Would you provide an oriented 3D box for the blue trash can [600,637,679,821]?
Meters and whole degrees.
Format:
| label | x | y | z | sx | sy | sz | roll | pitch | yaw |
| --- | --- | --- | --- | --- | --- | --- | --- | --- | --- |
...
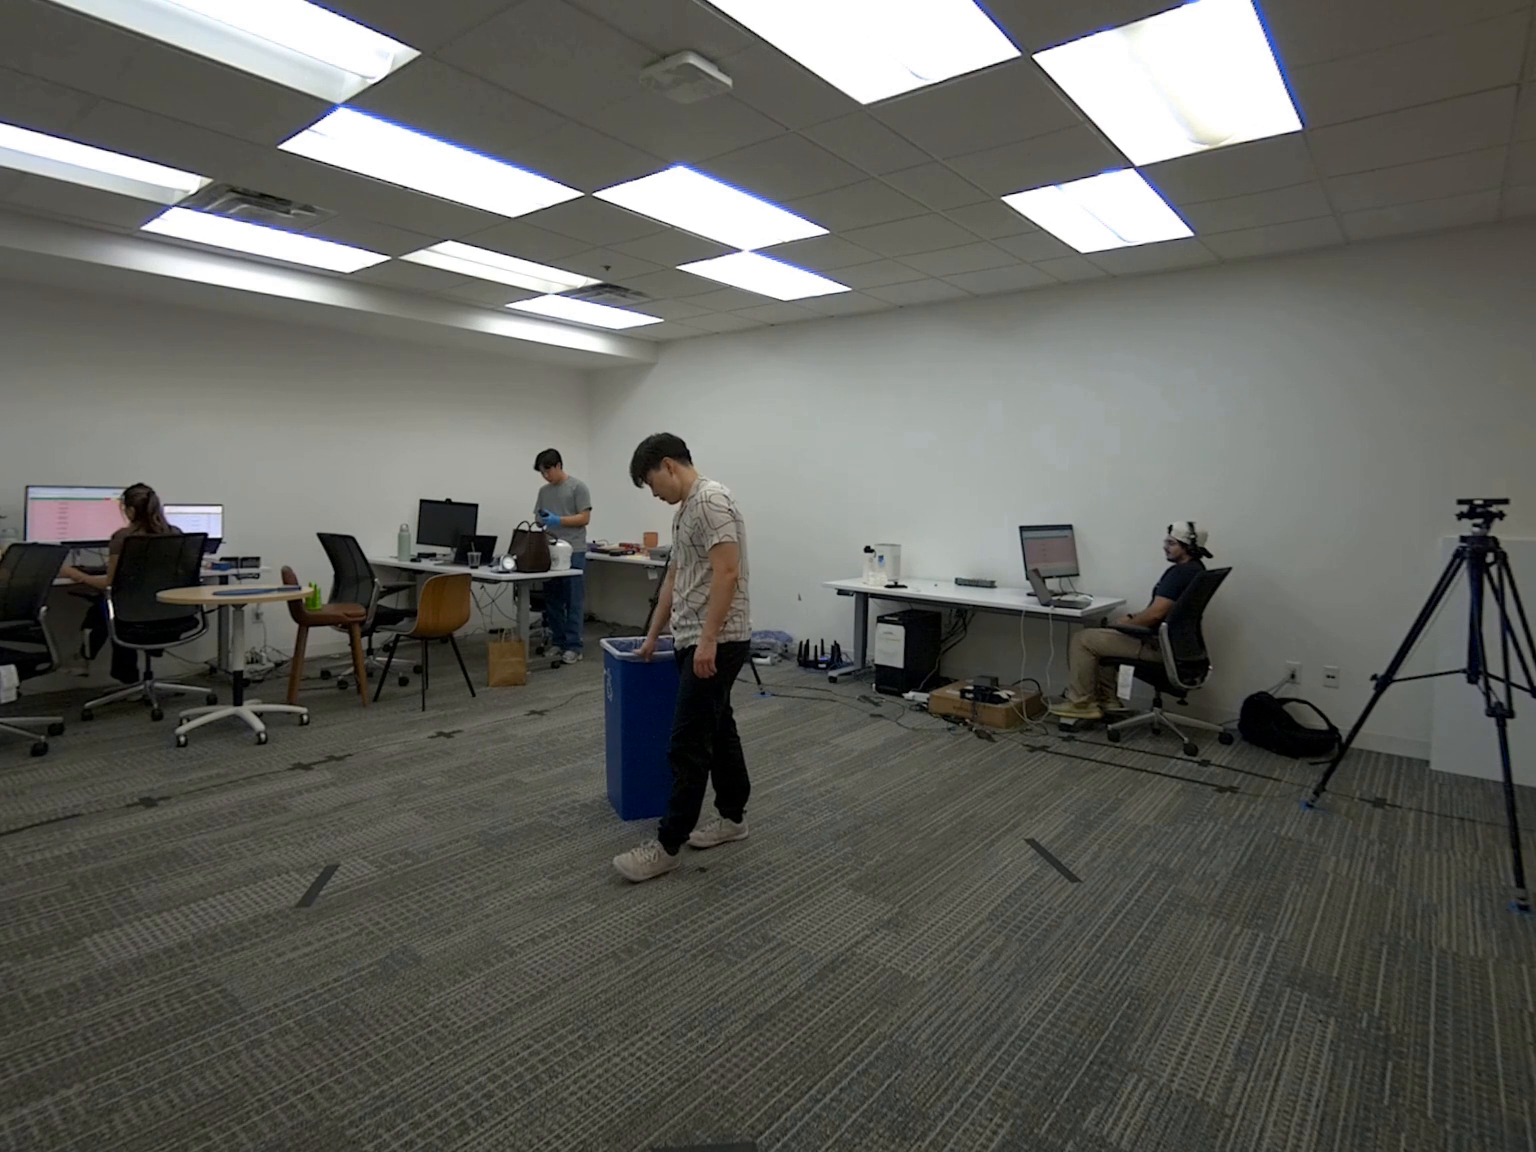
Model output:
| label | x | y | z | sx | sy | sz | roll | pitch | yaw |
| --- | --- | --- | --- | --- | --- | --- | --- | --- | --- |
| blue trash can | -0.531 | 0.648 | 3.717 | 0.370 | 0.711 | 0.383 | -1 | 4 | -23 |
